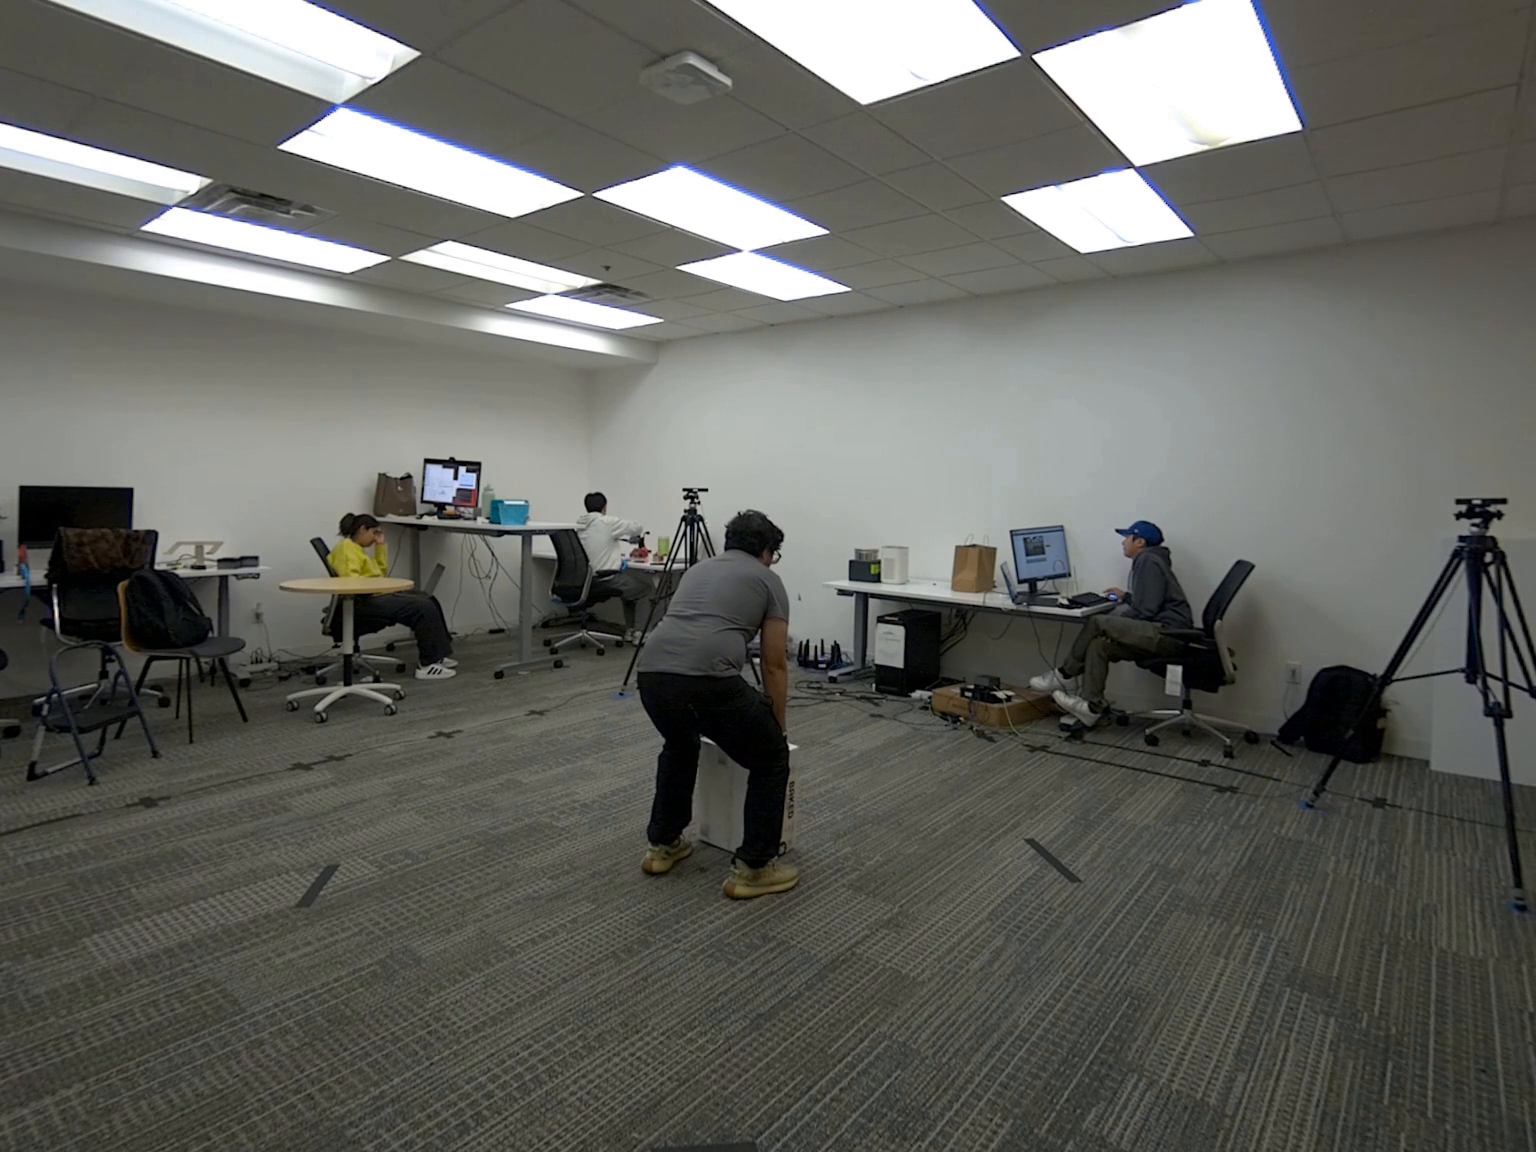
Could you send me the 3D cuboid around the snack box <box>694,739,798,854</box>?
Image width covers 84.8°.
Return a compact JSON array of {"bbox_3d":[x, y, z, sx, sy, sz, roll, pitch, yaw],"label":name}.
[{"bbox_3d":[-0.089,0.842,3.315,0.352,0.403,0.200,7,8,37],"label":"snack box"}]
